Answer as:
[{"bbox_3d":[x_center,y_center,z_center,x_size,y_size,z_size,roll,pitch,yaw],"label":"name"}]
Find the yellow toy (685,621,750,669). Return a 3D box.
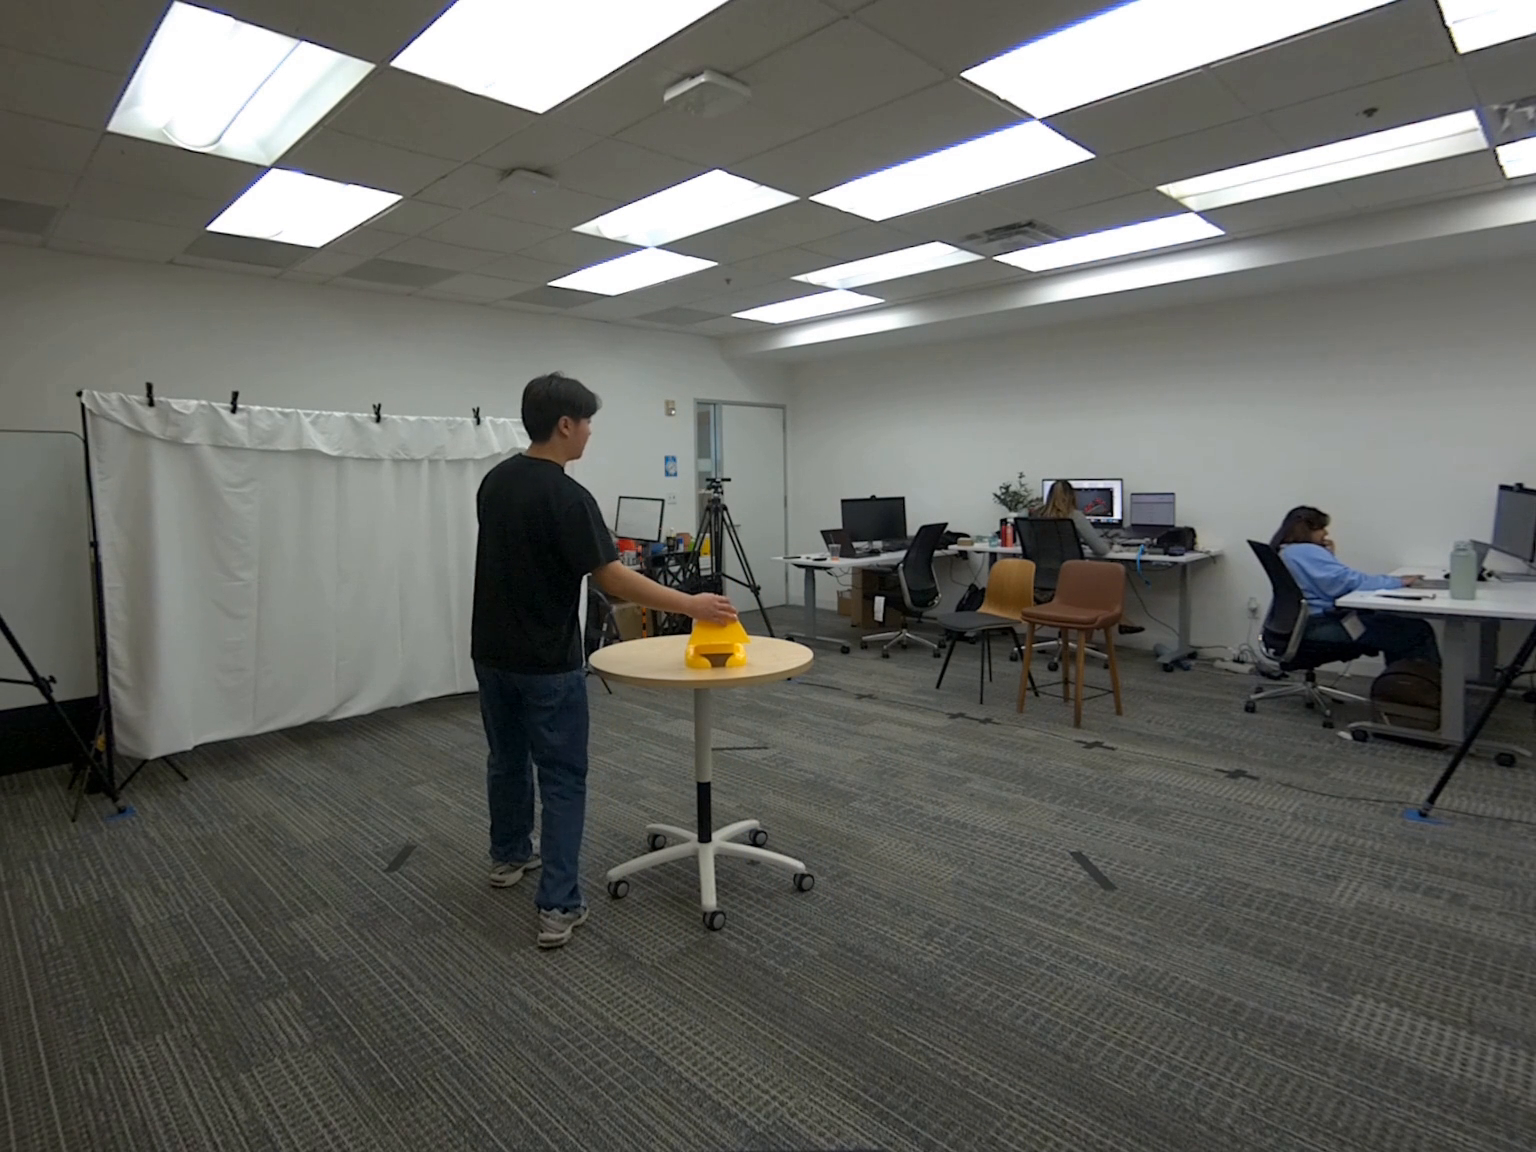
[{"bbox_3d":[-0.175,0.167,2.785,0.203,0.230,0.195,-2,5,-9],"label":"yellow toy"}]
